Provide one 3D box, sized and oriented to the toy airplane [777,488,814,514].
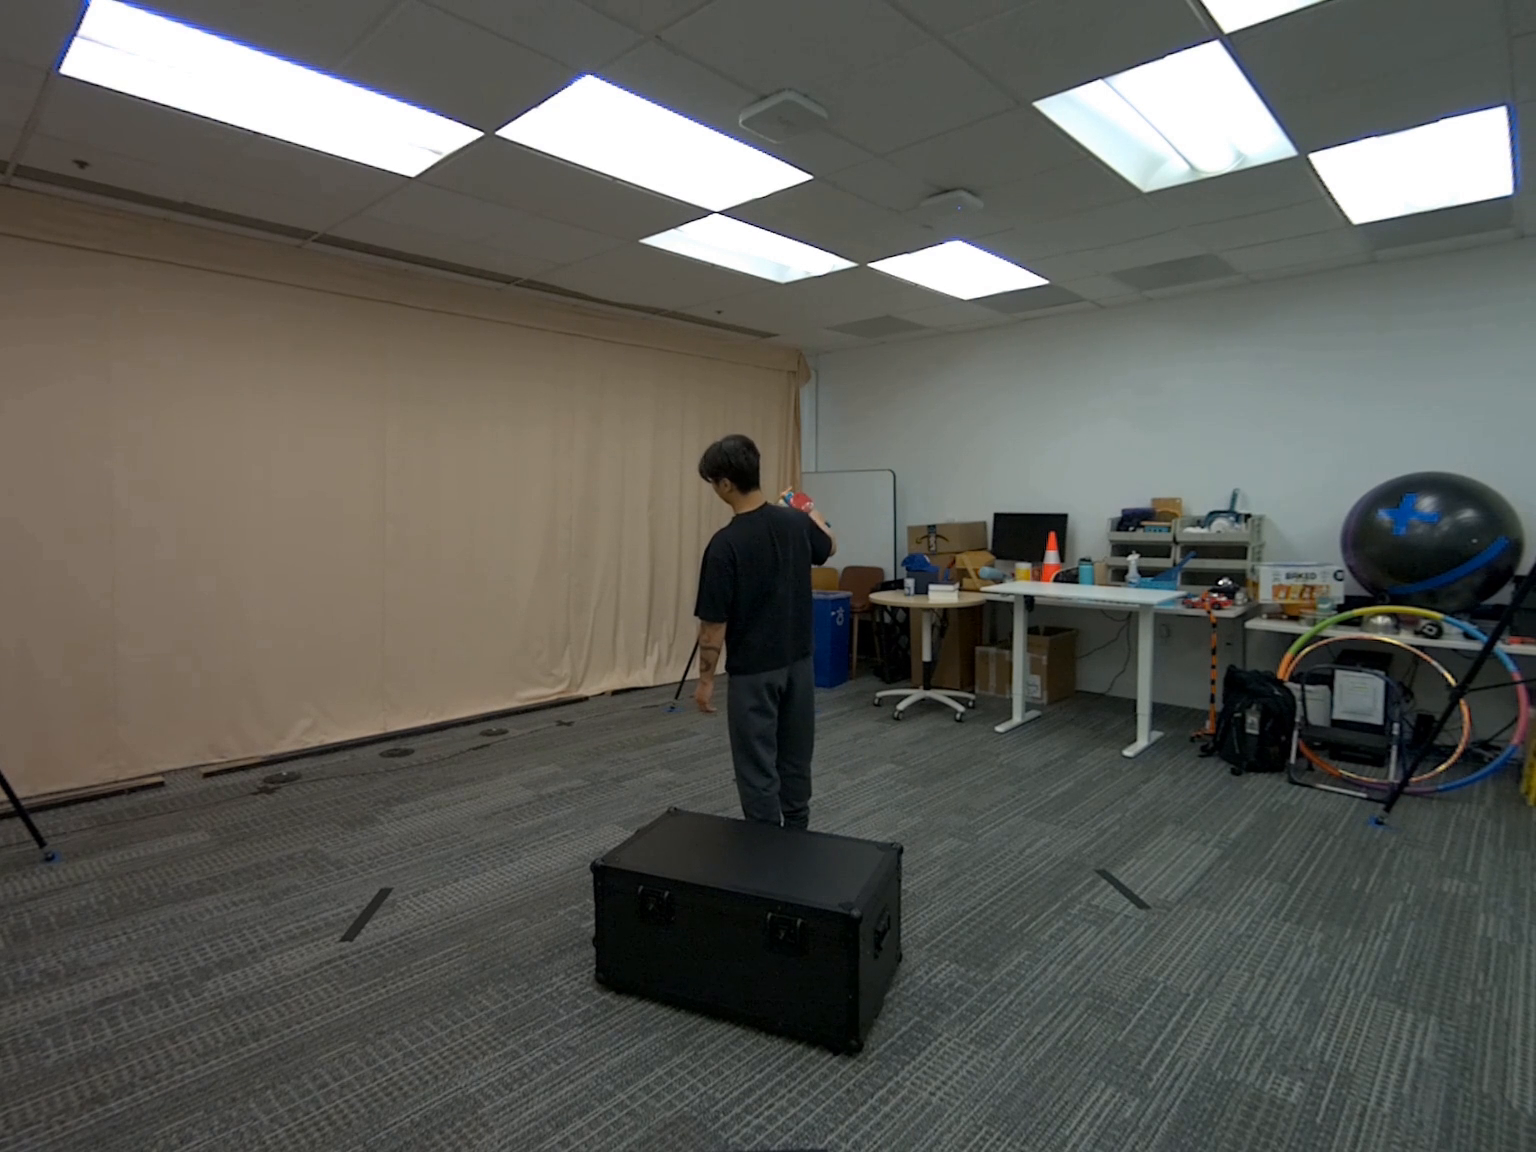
[{"bbox_3d":[0.149,-0.277,3.683,0.254,0.156,0.256,21,25,-17],"label":"toy airplane"}]
